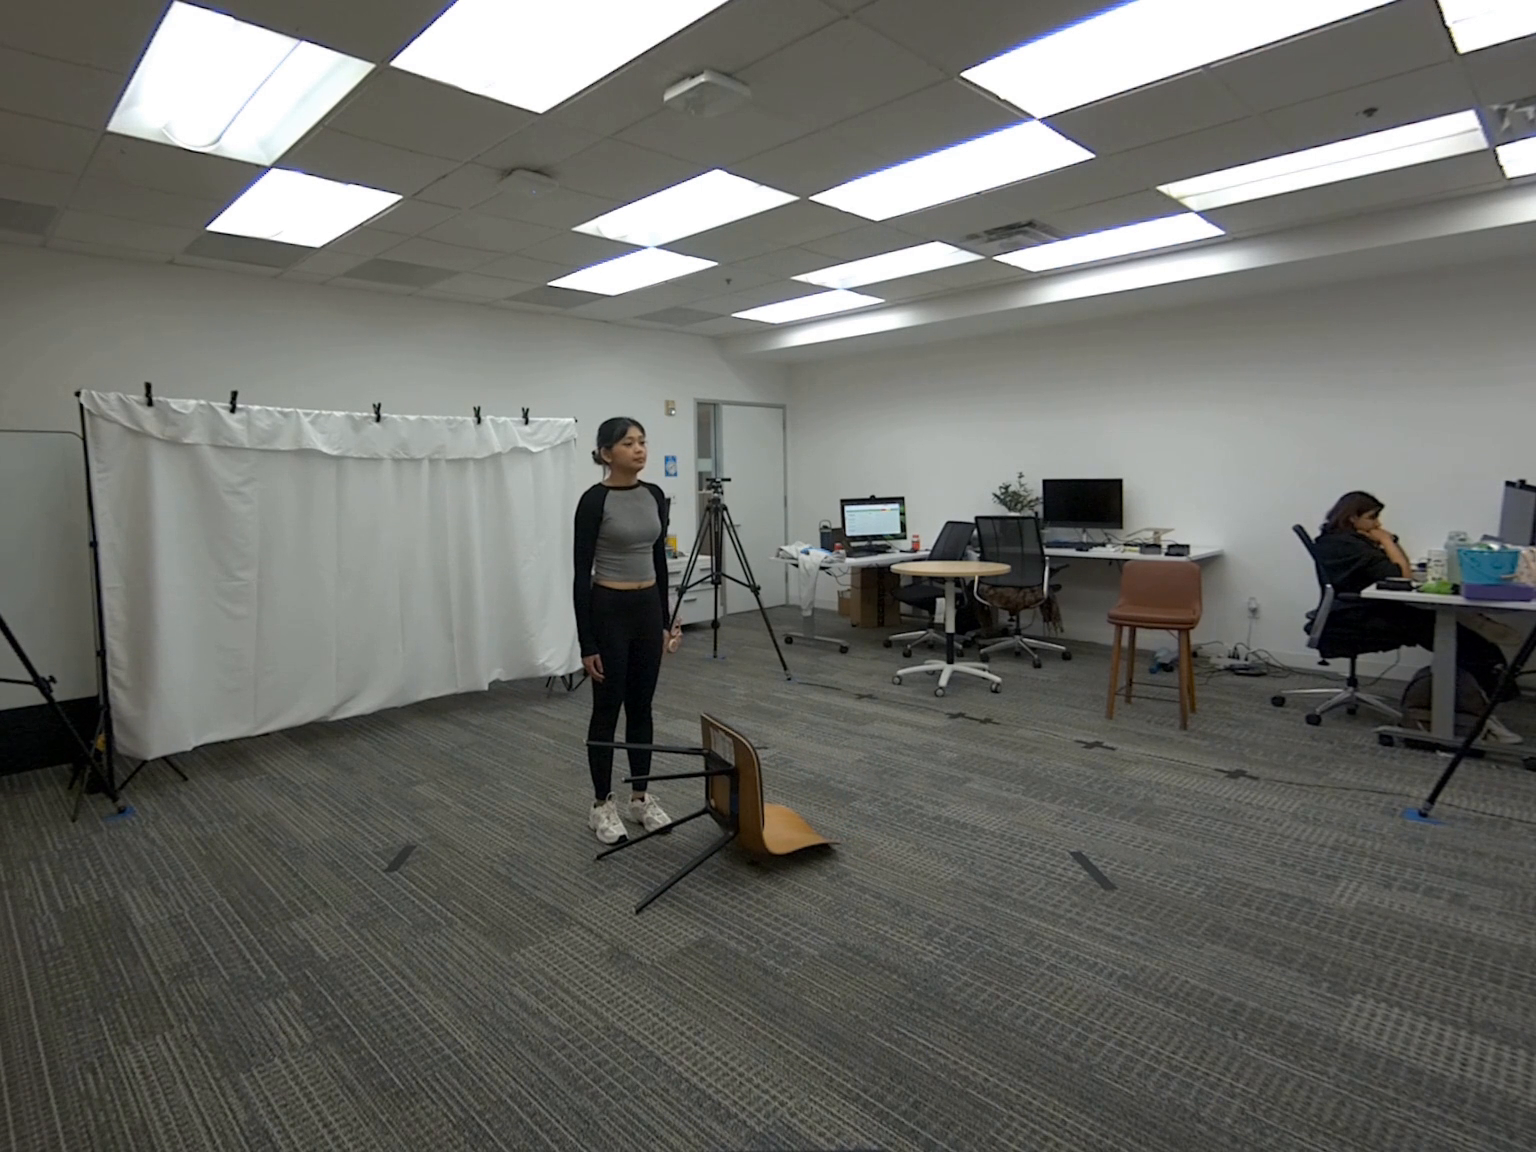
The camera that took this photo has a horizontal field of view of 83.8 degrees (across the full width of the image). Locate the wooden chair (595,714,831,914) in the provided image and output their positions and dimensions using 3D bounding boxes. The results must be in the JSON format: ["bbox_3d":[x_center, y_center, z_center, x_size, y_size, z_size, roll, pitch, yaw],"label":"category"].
[{"bbox_3d":[-0.174,0.781,3.109,0.858,0.521,0.490,-2,5,-26],"label":"wooden chair"}]
